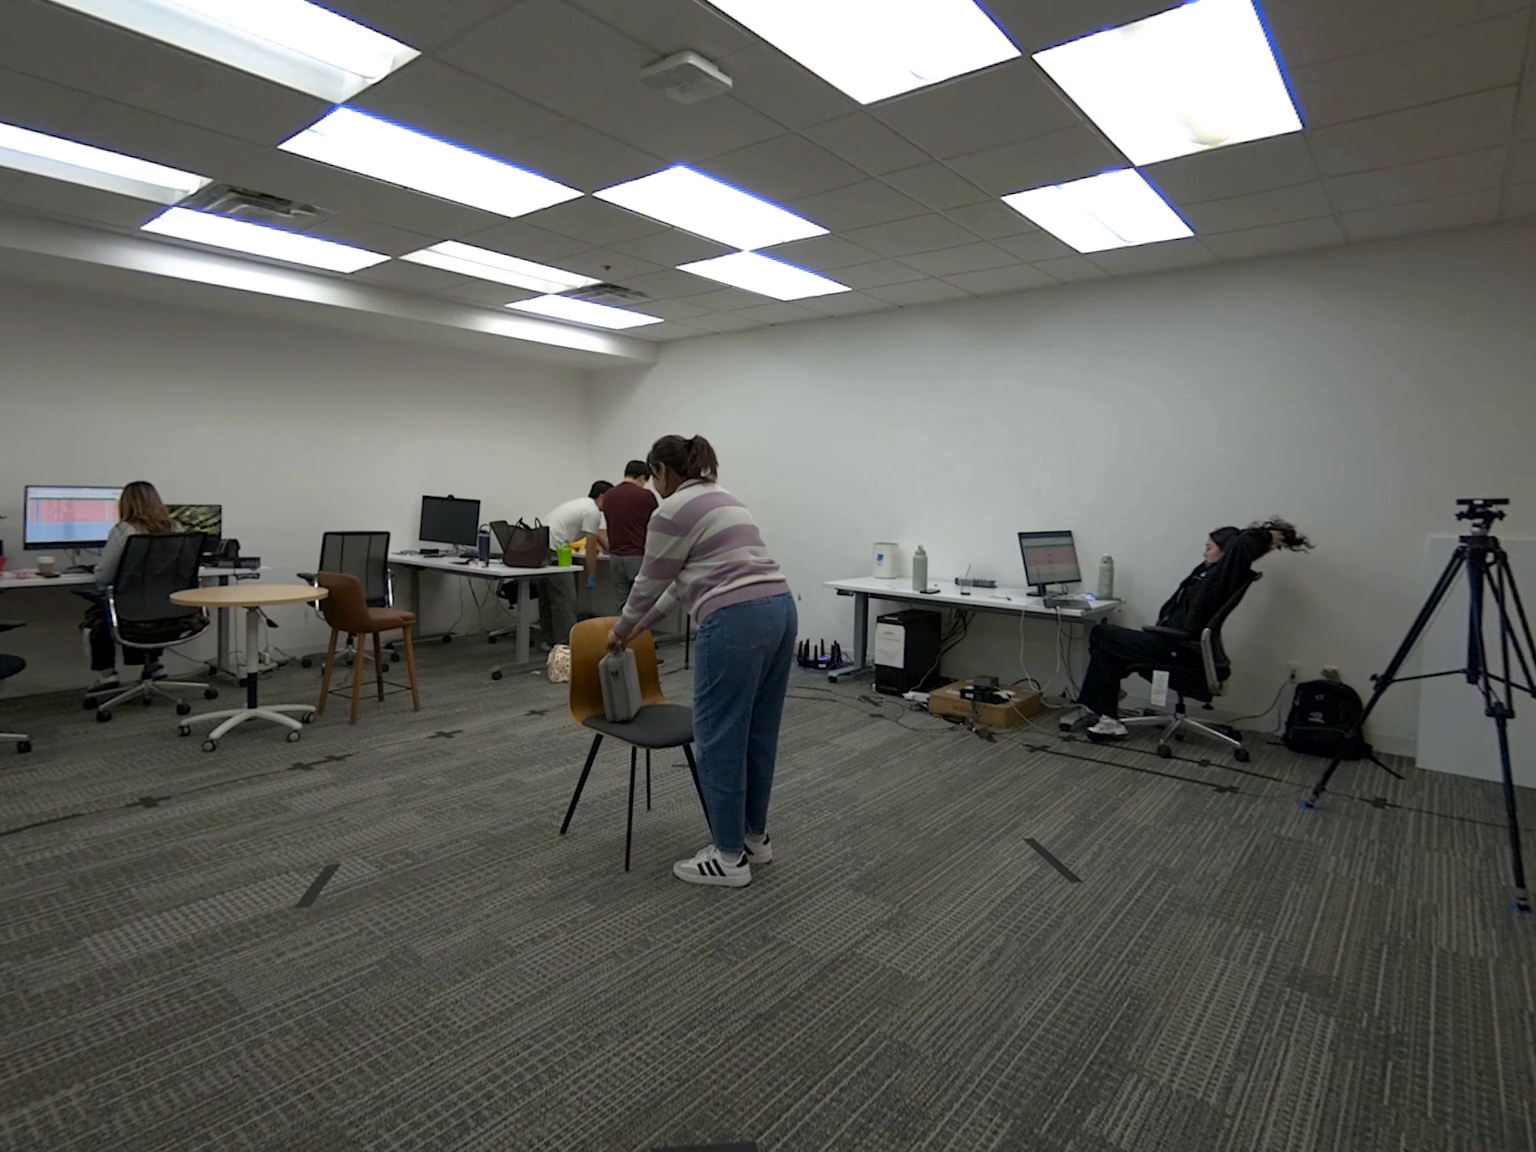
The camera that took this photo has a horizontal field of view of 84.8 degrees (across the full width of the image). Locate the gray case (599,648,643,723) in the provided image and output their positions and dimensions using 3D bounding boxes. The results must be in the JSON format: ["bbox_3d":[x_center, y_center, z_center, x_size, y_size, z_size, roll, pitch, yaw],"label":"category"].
[{"bbox_3d":[-0.602,0.422,3.399,0.105,0.260,0.257,-5,4,2],"label":"gray case"}]
